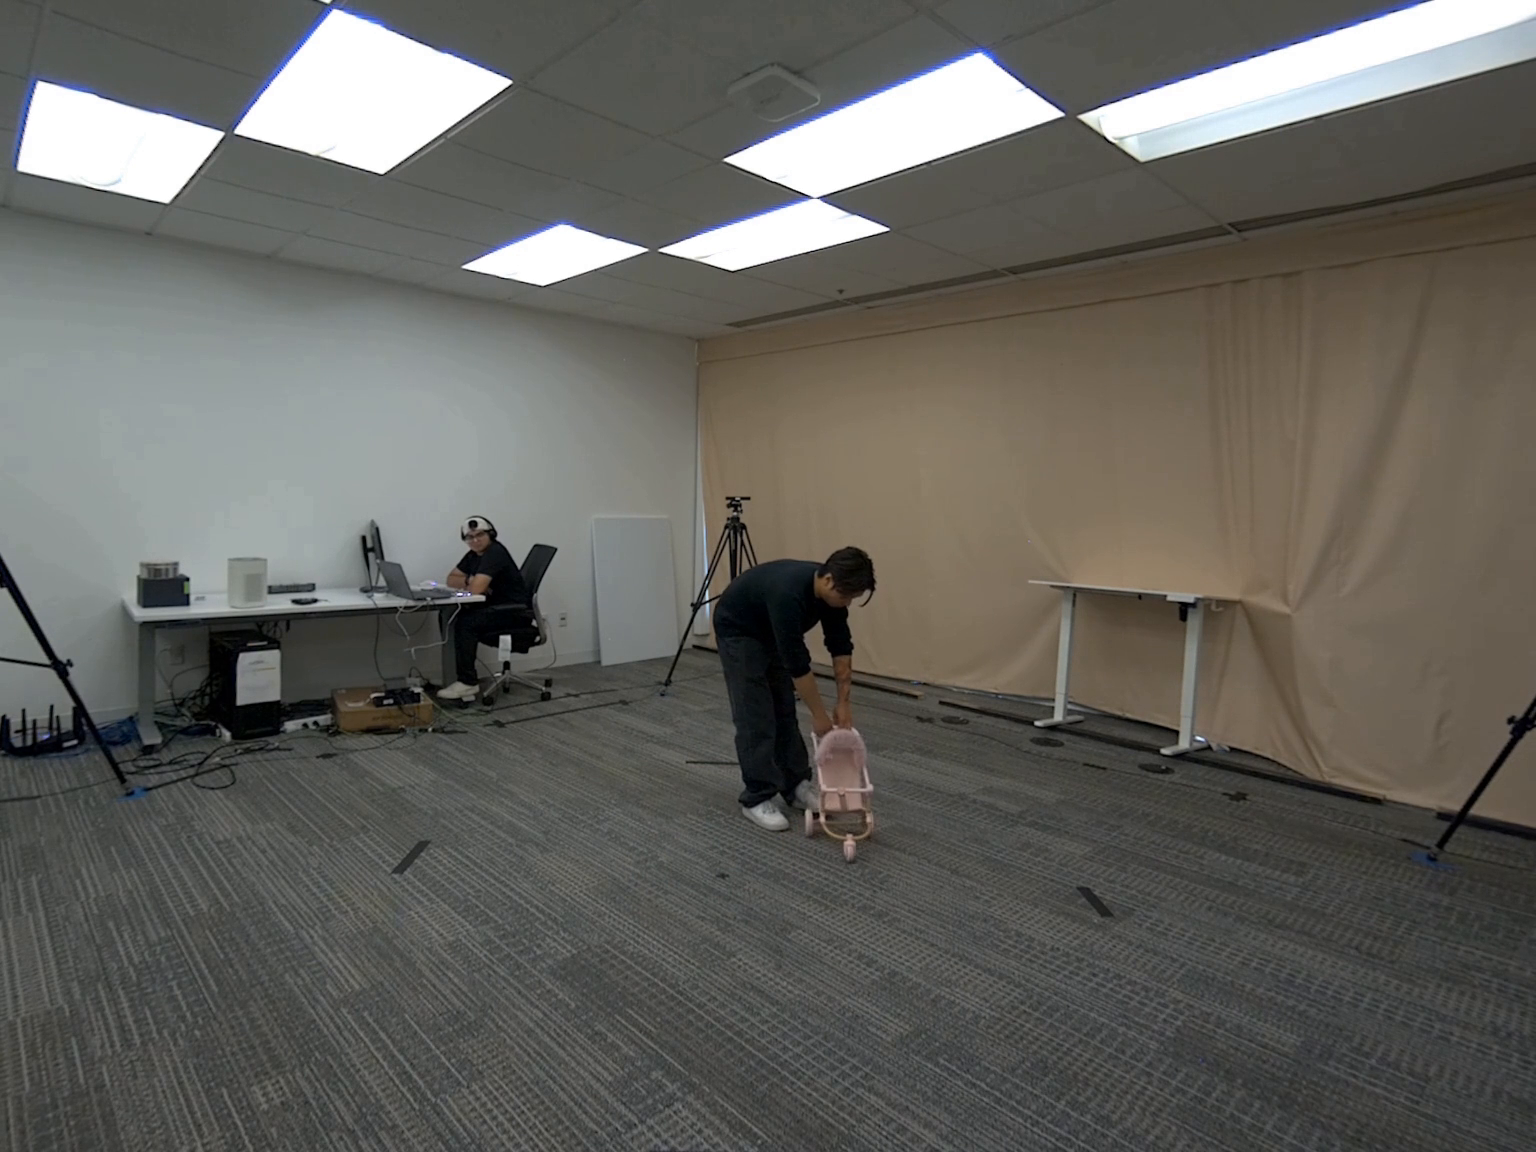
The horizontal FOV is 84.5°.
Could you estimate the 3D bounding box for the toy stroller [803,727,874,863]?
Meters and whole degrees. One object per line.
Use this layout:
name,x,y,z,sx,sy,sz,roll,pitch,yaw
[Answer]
toy stroller,0.291,0.868,3.432,0.281,0.540,0.338,0,-14,-1
